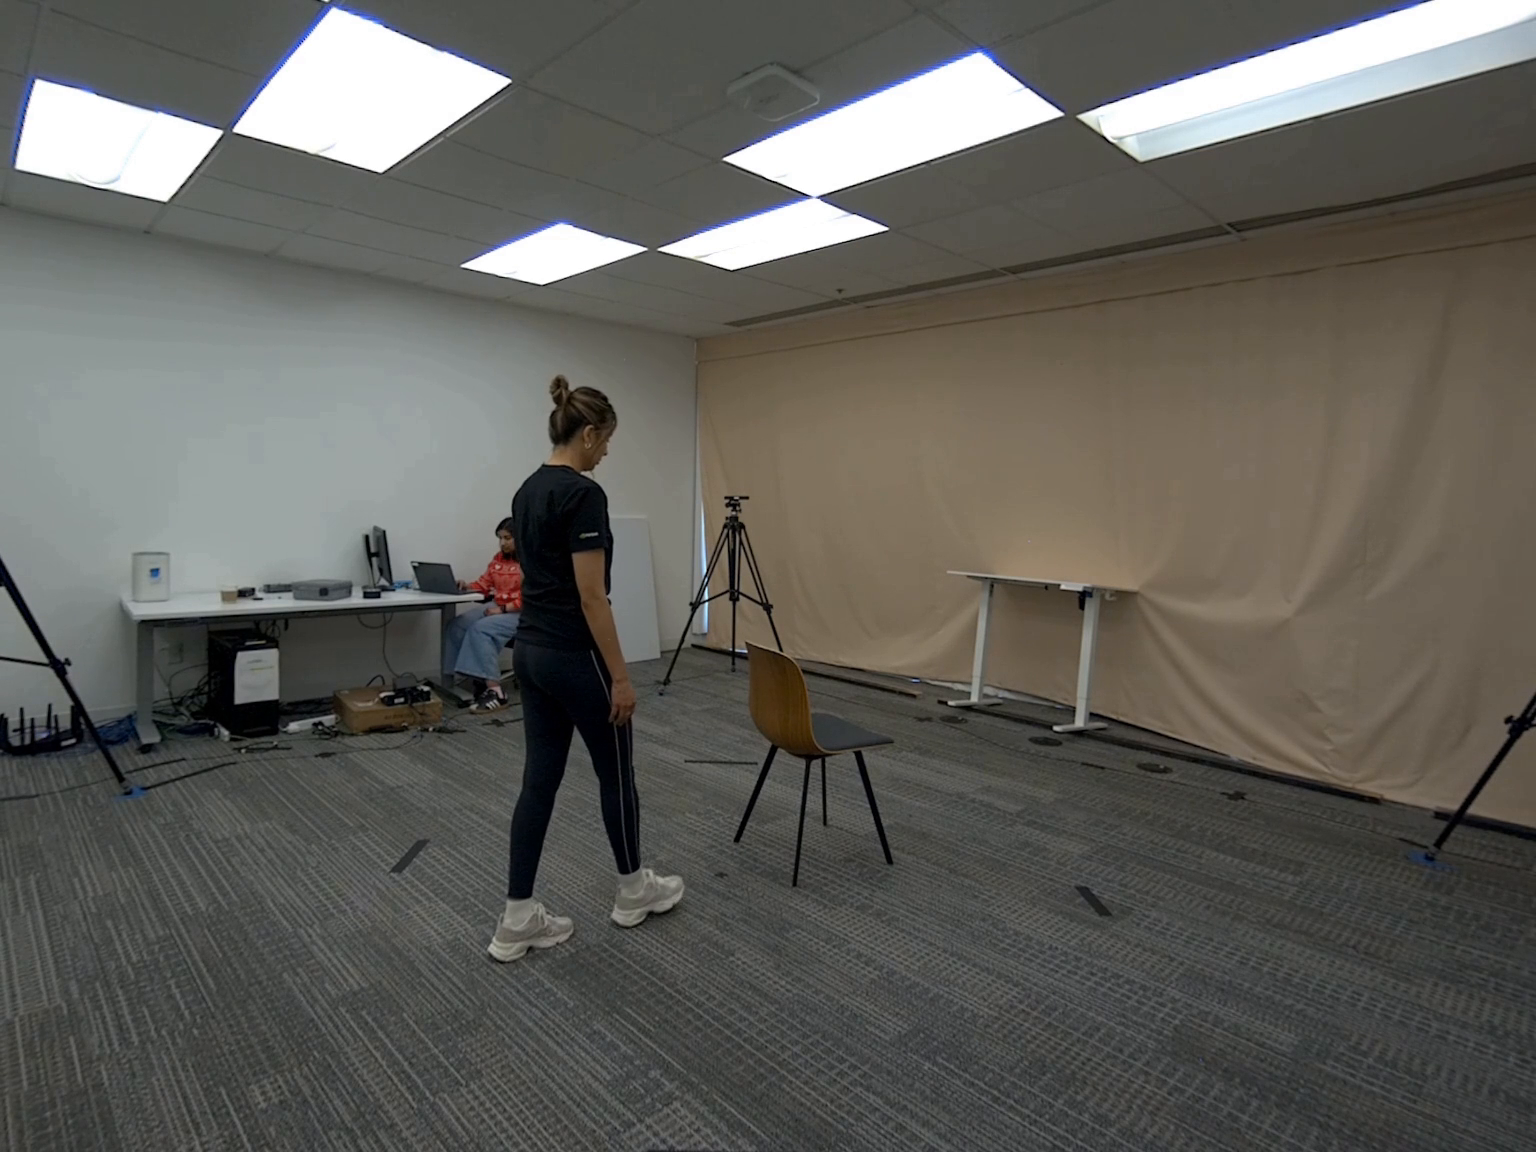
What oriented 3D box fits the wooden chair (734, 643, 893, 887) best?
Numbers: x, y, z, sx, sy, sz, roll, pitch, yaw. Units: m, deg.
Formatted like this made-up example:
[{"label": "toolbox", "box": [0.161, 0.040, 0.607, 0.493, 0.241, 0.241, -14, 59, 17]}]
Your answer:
[{"label": "wooden chair", "box": [0.184, 0.667, 3.297, 0.513, 0.874, 0.489, -5, 6, -30]}]
